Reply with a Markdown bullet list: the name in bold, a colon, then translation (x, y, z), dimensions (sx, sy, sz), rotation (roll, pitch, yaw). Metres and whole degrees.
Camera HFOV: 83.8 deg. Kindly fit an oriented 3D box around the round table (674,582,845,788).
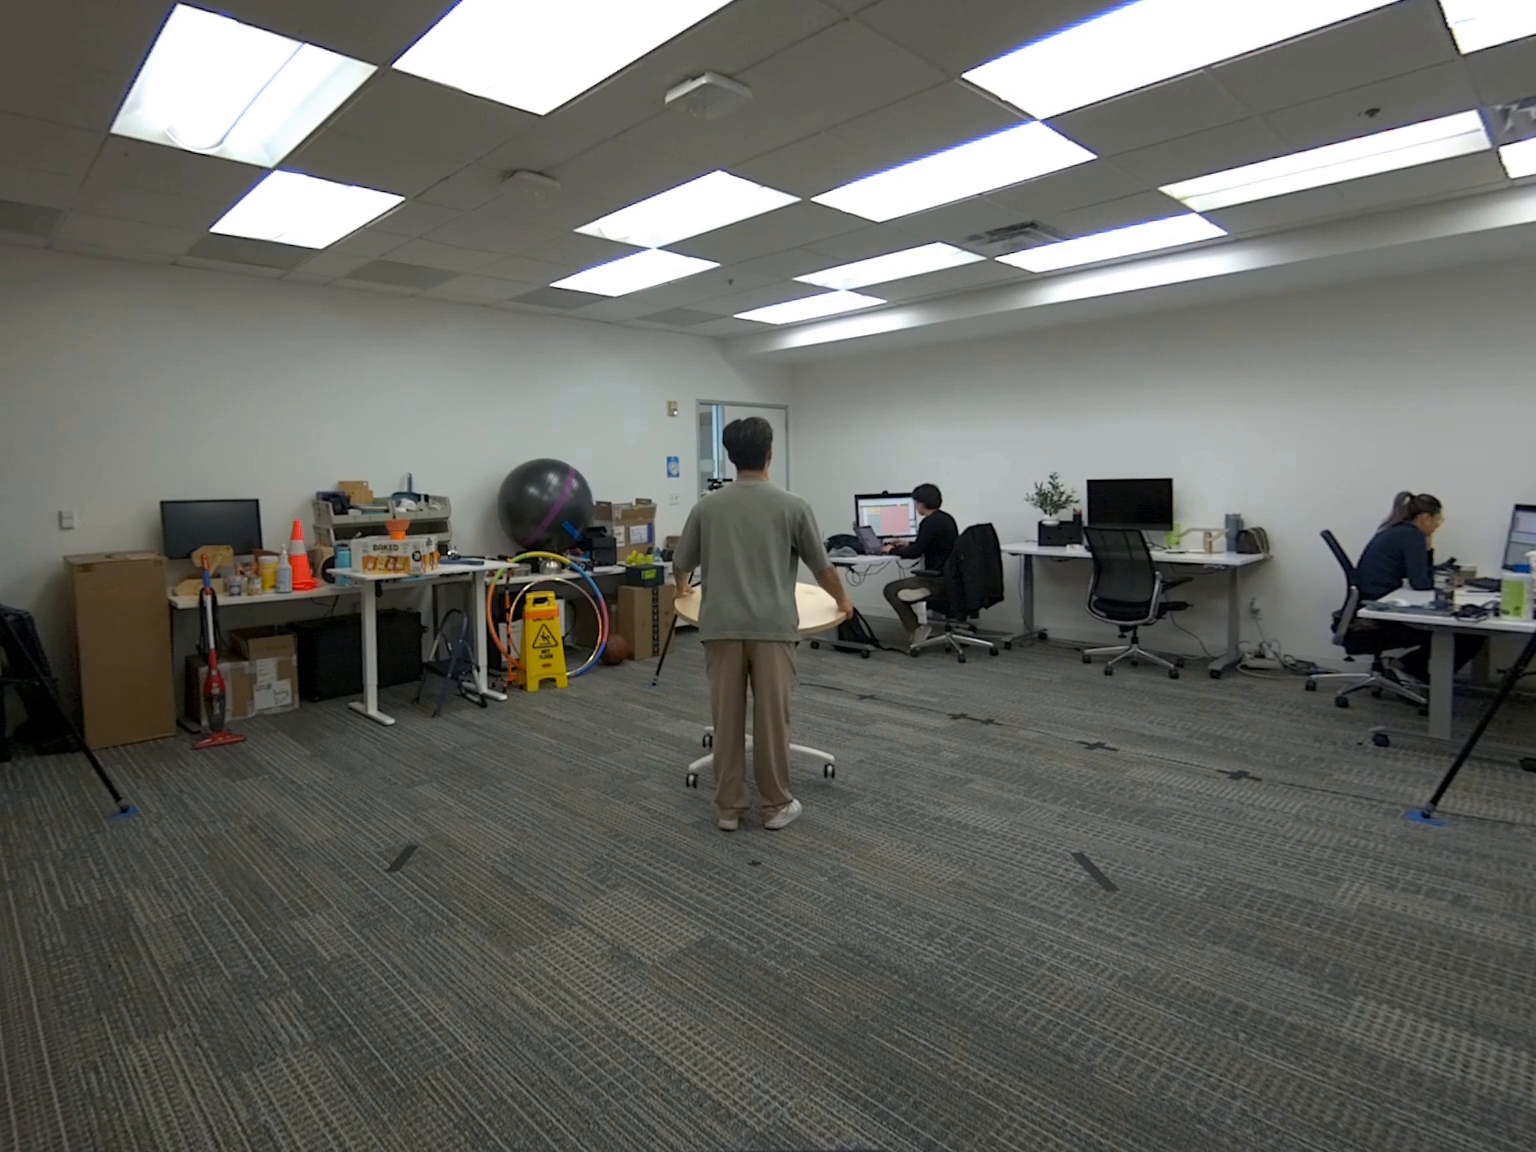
- **round table**: translation (-0.024, 0.510, 3.867), dimensions (0.784, 0.777, 0.795), rotation (0, 14, -2)
